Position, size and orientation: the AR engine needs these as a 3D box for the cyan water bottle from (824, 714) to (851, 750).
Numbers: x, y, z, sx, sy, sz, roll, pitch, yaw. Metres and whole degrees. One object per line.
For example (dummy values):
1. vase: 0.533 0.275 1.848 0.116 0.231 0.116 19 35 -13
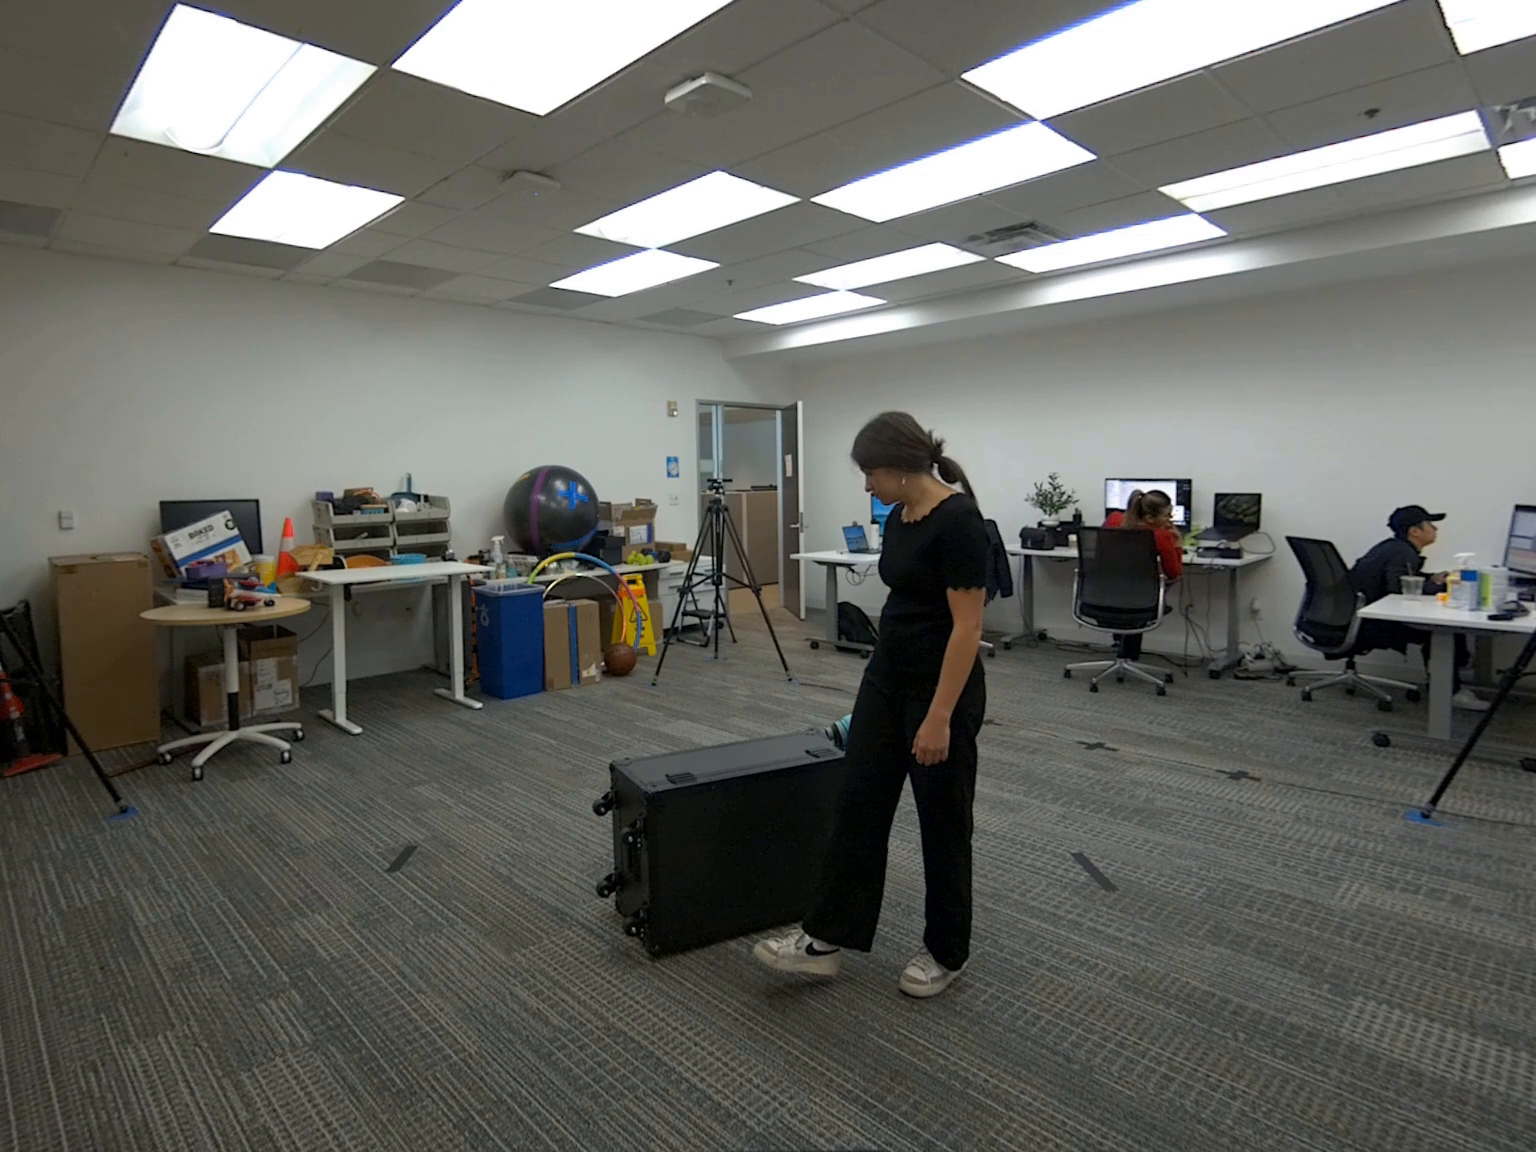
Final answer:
1. cyan water bottle: 0.321 0.444 2.555 0.282 0.091 0.093 -21 8 -7
